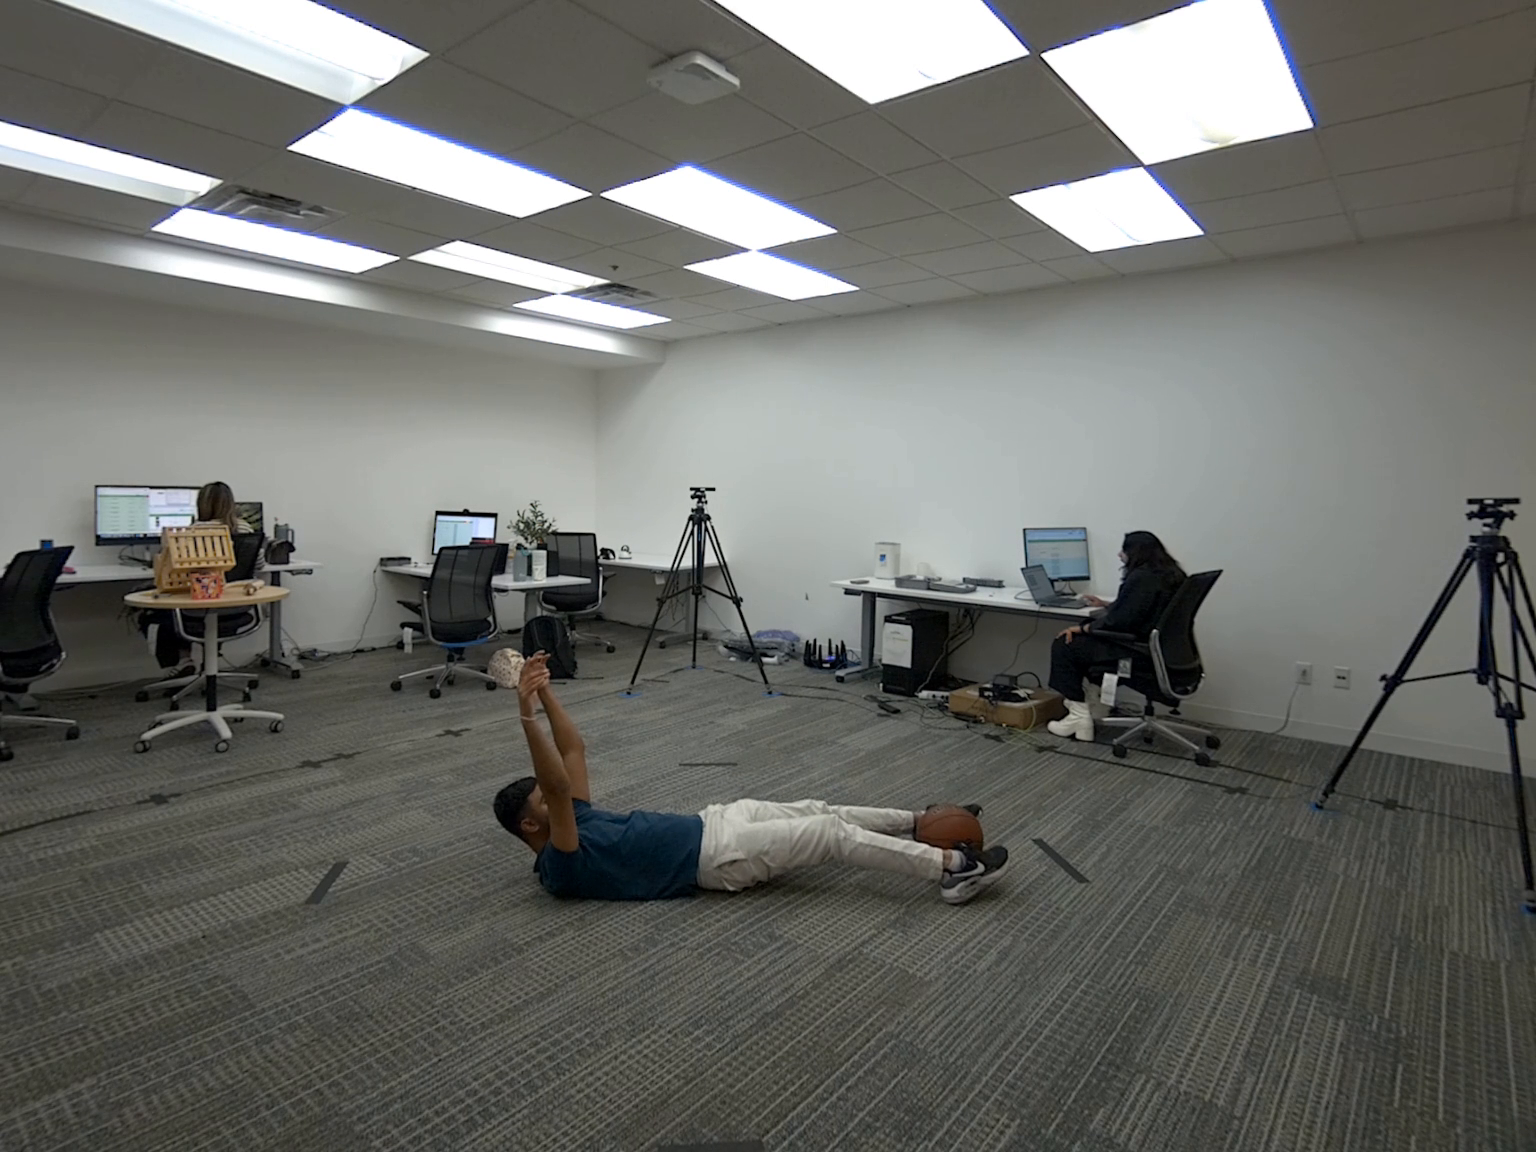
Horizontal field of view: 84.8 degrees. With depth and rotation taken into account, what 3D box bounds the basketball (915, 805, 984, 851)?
[{"bbox_3d":[0.664,0.955,3.113,0.235,0.235,0.237,1,4,-2],"label":"basketball"}]
